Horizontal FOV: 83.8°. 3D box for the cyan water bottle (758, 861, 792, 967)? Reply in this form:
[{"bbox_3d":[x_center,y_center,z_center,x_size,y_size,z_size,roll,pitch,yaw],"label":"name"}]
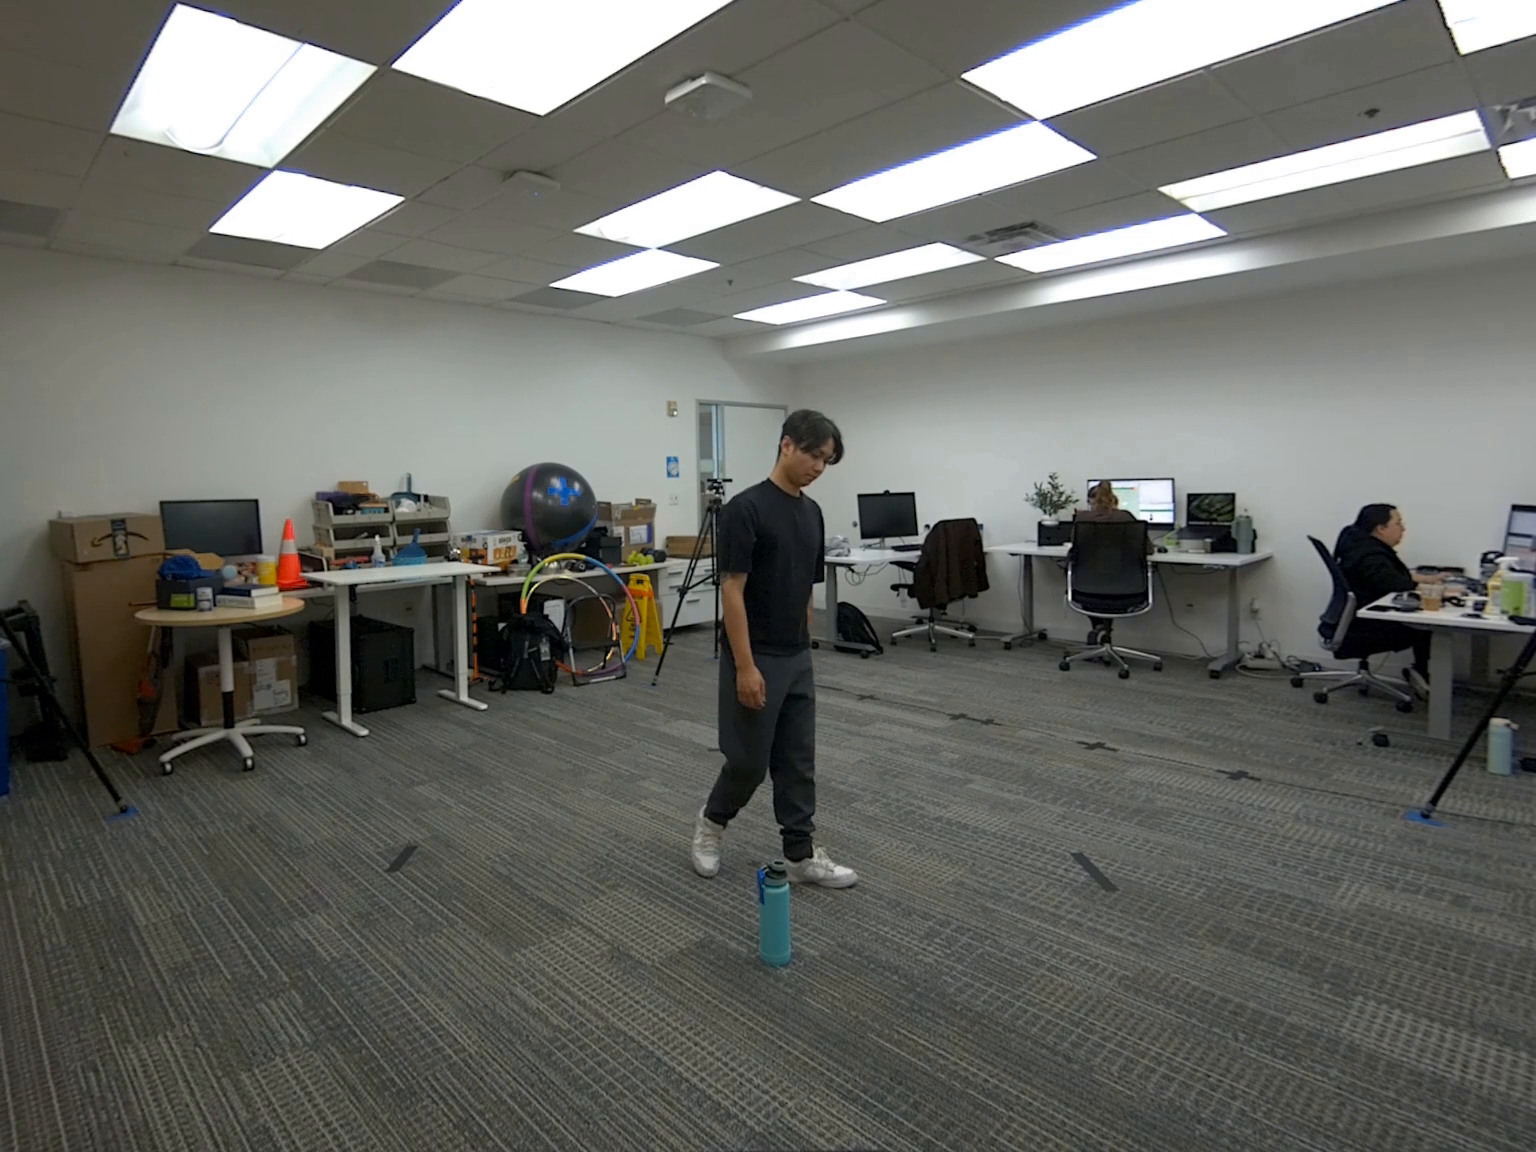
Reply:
[{"bbox_3d":[0.025,0.978,2.485,0.092,0.283,0.092,-2,1,-2],"label":"cyan water bottle"}]
